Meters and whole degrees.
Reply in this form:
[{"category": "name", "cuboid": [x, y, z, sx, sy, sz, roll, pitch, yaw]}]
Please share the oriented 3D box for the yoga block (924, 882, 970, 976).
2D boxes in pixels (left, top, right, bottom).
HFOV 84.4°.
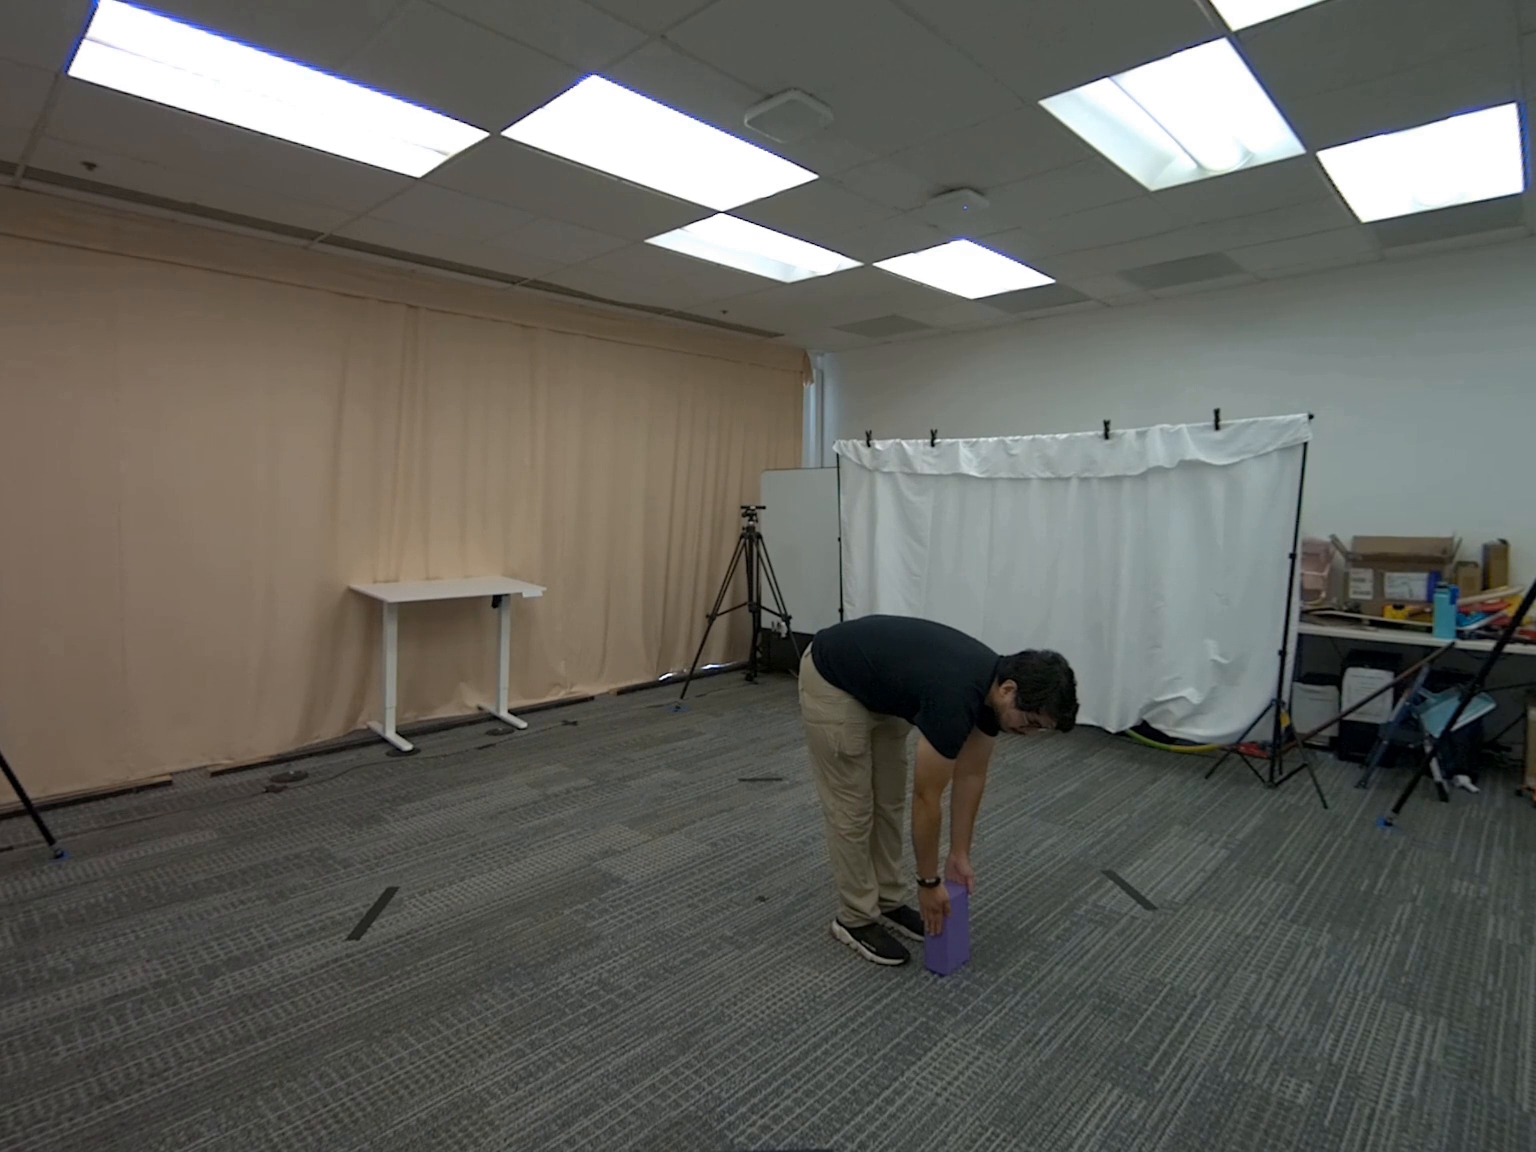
[{"category": "yoga block", "cuboid": [0.549, 1.066, 2.546, 0.144, 0.229, 0.079, -3, 4, -44]}]
